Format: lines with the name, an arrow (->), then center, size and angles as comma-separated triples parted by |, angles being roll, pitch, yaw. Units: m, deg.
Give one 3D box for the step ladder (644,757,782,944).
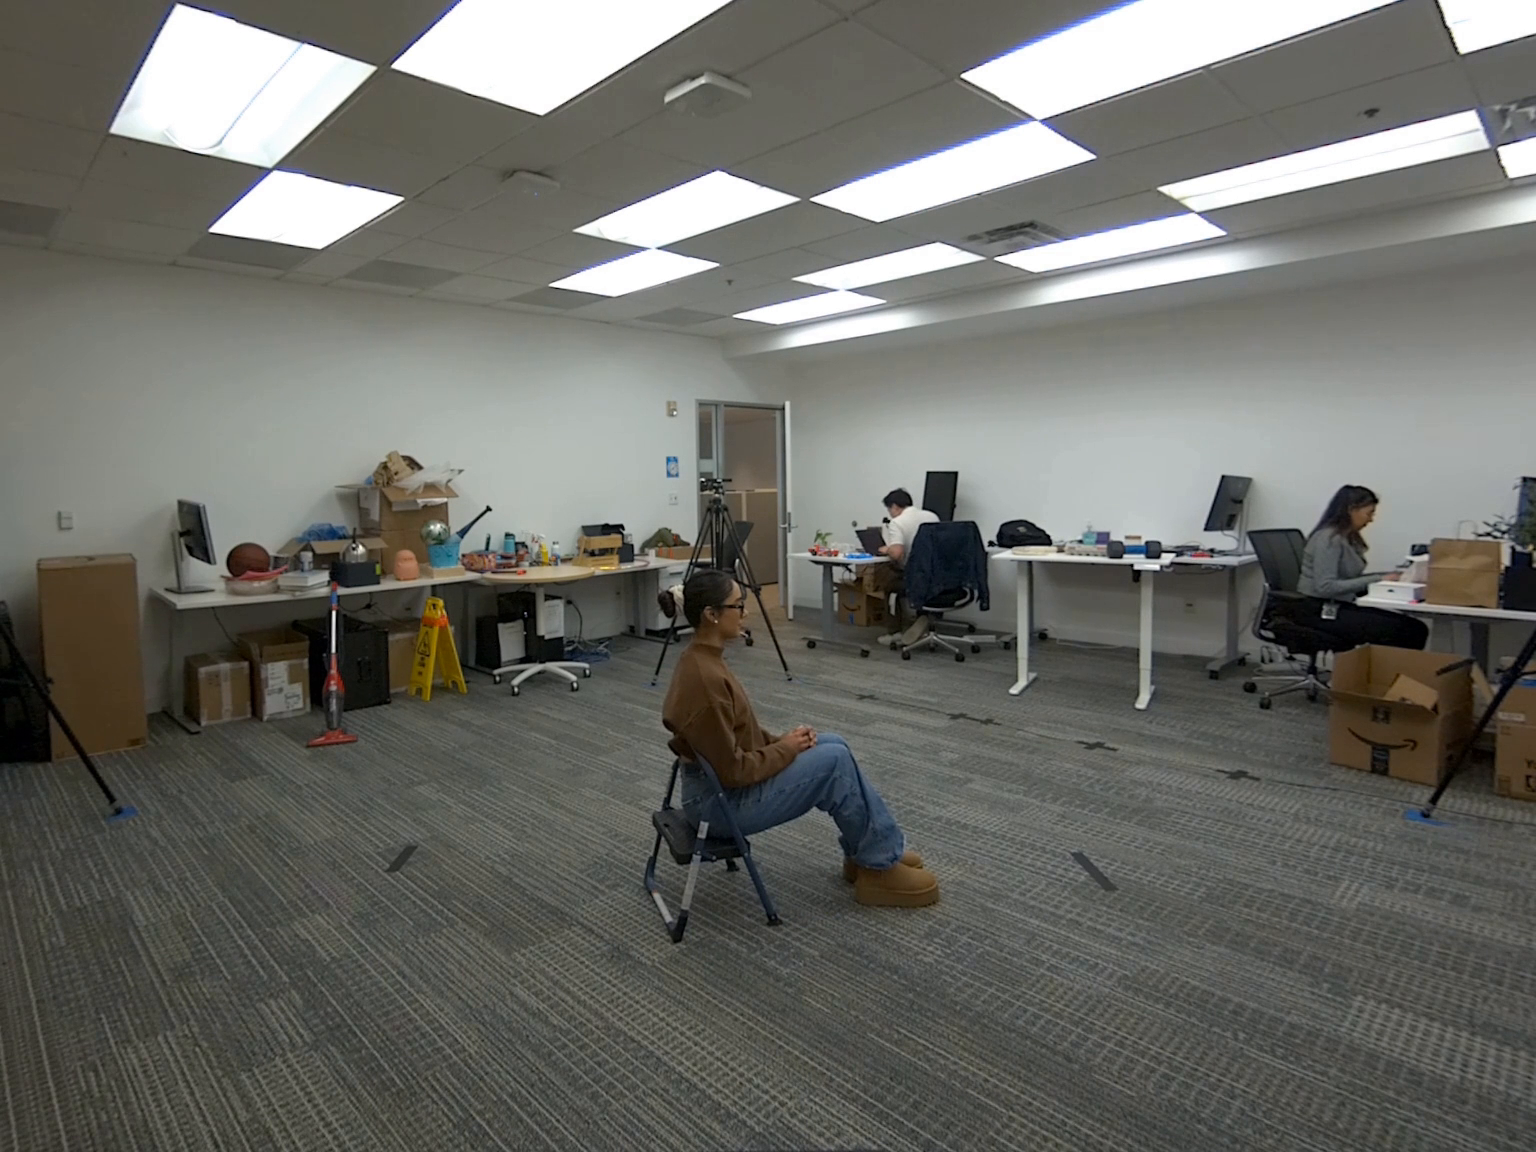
step ladder -> -0.200, 0.785, 2.805 | 0.343, 0.604, 0.440 | -3, 4, -21
